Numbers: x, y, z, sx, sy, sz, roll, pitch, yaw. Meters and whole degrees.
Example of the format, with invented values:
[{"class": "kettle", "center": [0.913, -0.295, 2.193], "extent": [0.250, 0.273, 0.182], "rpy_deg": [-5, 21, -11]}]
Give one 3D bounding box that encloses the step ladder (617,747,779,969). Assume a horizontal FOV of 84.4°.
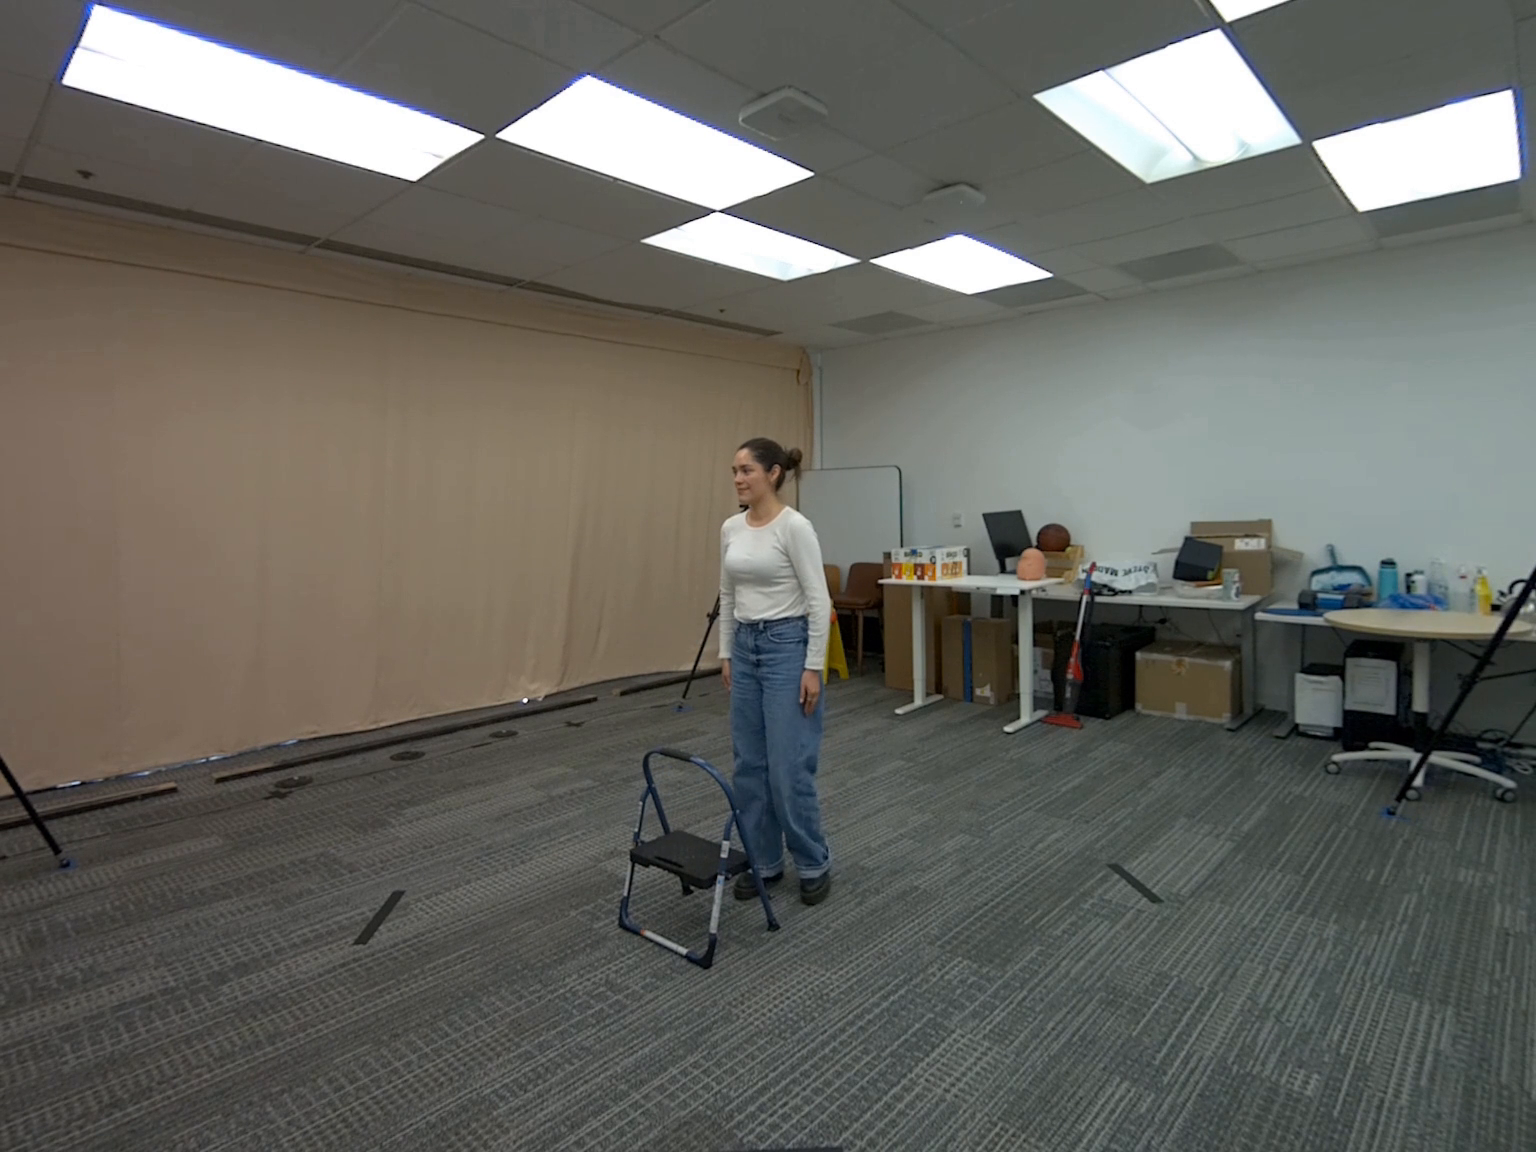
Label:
[{"class": "step ladder", "center": [-0.236, 0.857, 2.769], "extent": [0.445, 0.605, 0.339], "rpy_deg": [2, 4, 40]}]
